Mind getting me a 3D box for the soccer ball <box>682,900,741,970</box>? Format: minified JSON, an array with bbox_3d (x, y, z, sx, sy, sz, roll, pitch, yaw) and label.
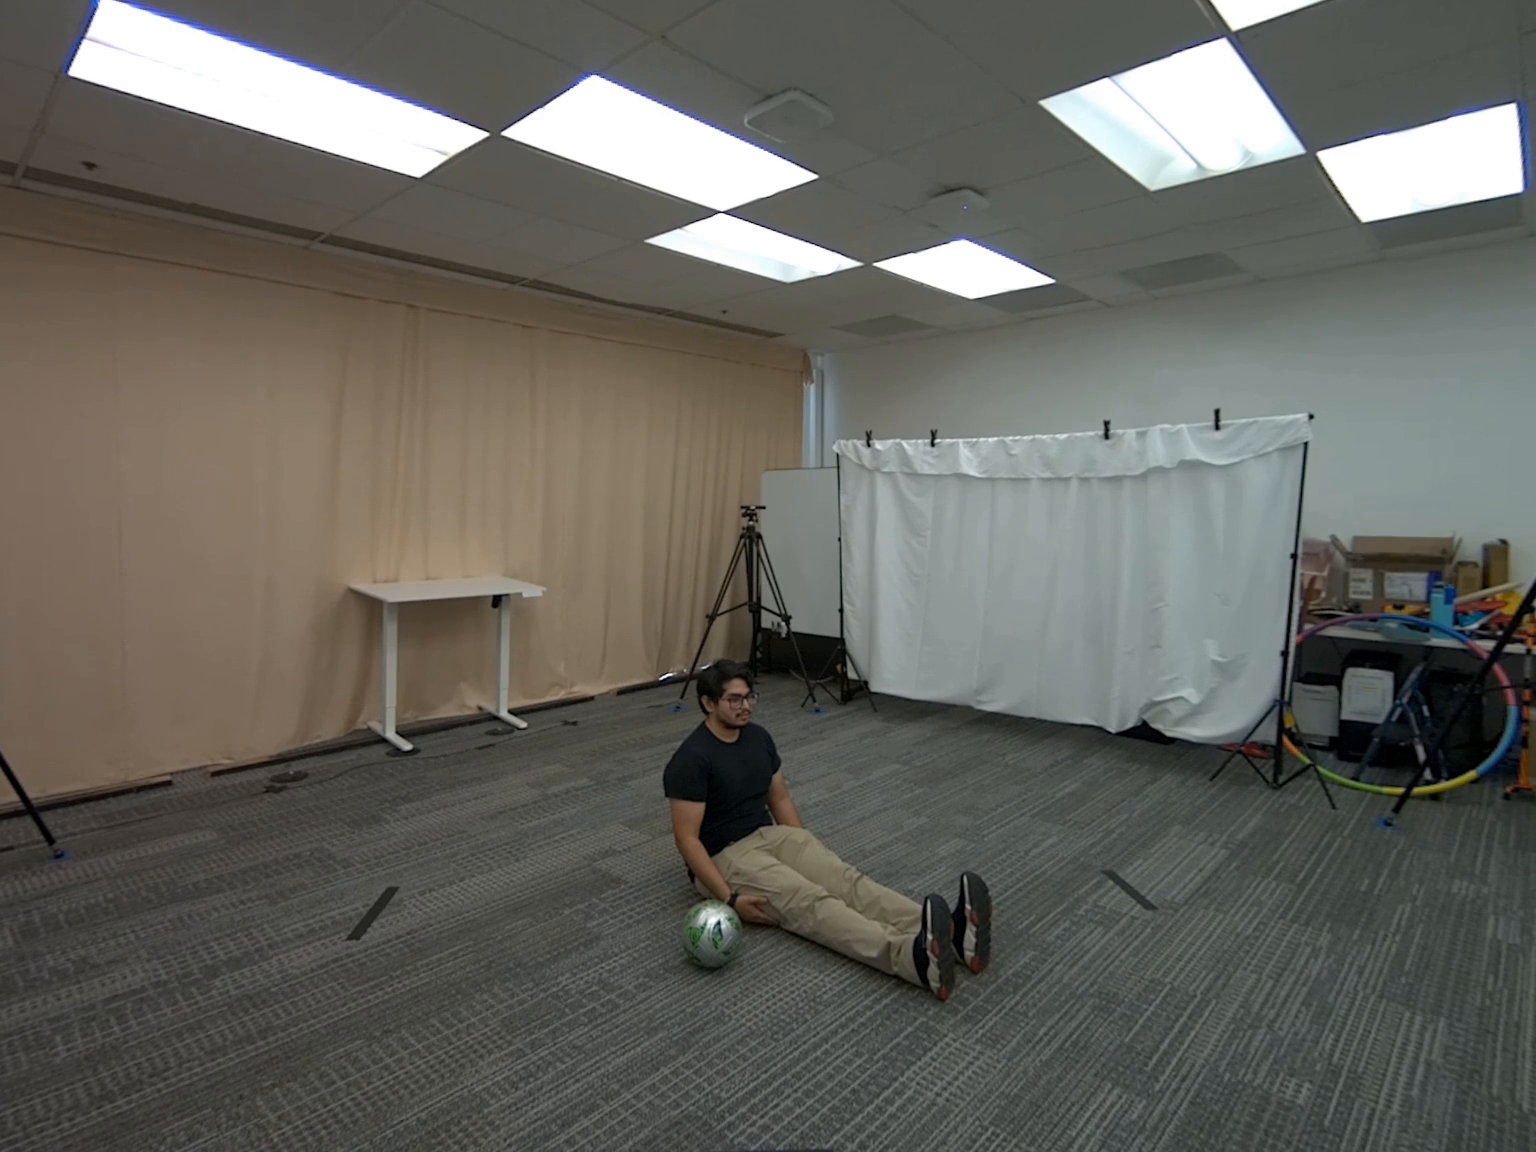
[{"bbox_3d":[-0.165,1.079,2.562,0.187,0.187,0.188,0,4,-2],"label":"soccer ball"}]
